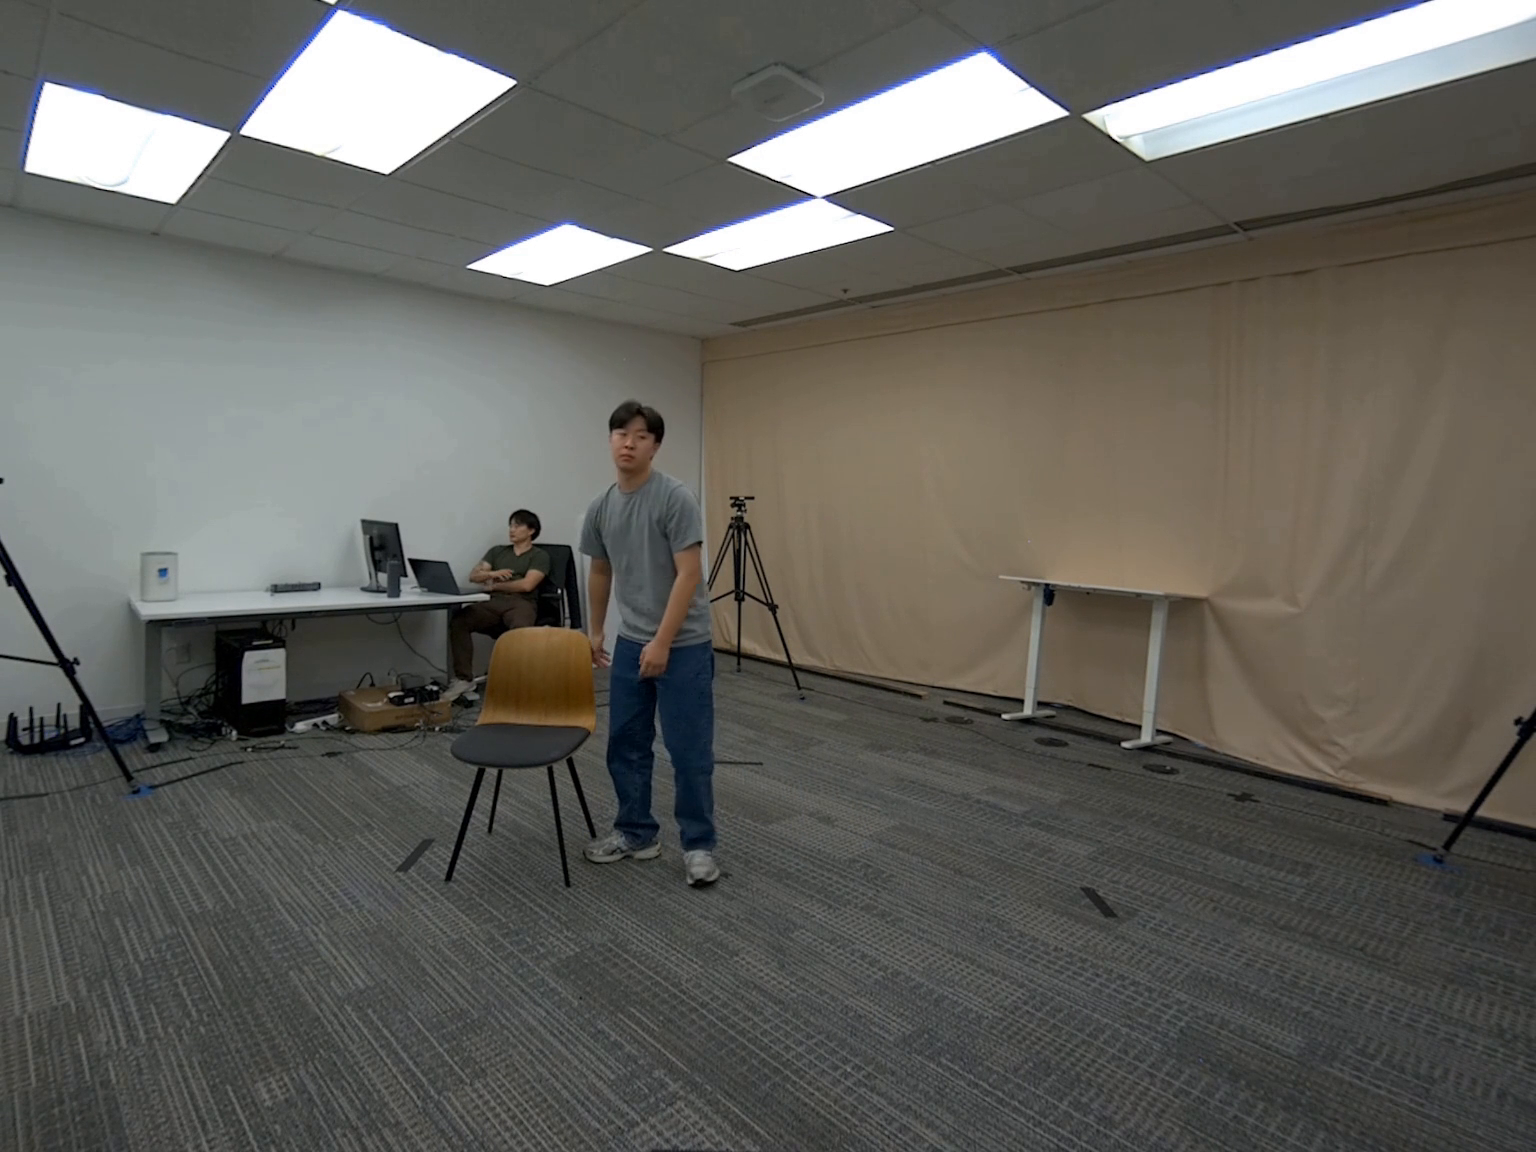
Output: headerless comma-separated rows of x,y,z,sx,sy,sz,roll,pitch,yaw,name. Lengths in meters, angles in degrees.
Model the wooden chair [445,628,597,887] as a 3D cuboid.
-0.913,0.653,3.173,0.479,0.878,0.522,1,0,1,wooden chair
